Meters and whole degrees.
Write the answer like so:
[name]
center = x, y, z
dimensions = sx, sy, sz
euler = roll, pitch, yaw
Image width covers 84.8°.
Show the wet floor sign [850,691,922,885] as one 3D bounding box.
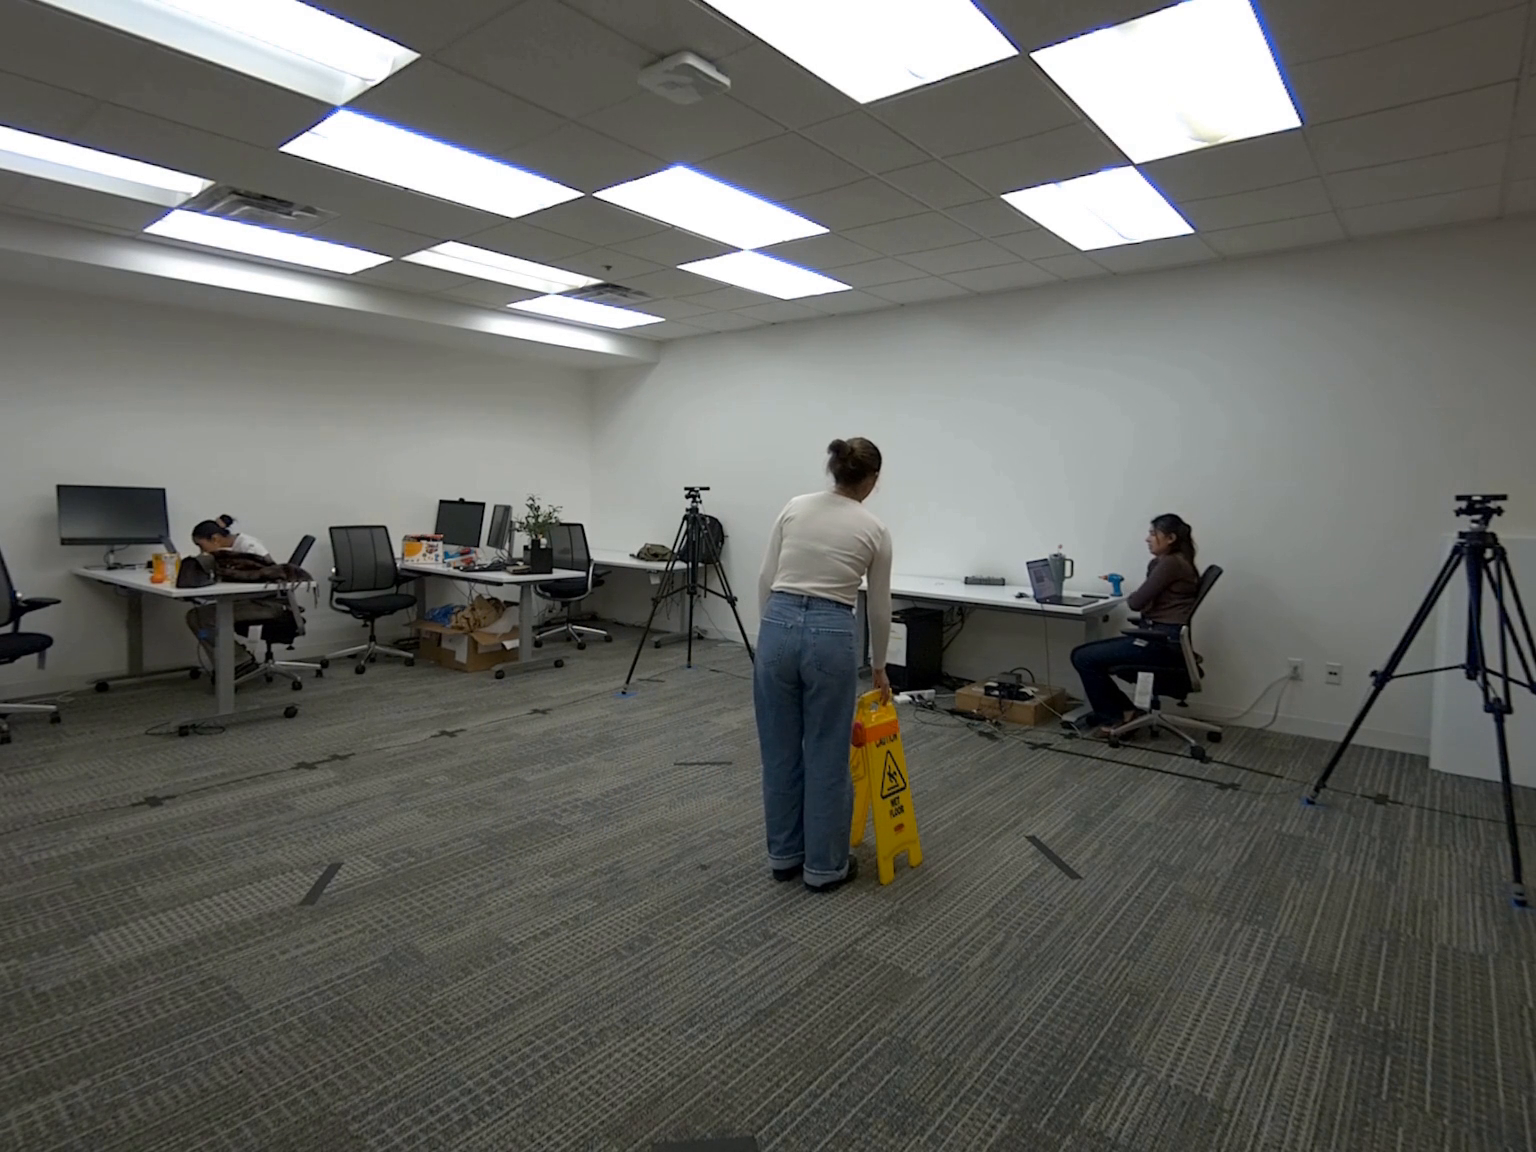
[wet floor sign]
center = 0.387, 0.746, 3.180
dimensions = 0.299, 0.645, 0.273
euler = 3, 3, 40
